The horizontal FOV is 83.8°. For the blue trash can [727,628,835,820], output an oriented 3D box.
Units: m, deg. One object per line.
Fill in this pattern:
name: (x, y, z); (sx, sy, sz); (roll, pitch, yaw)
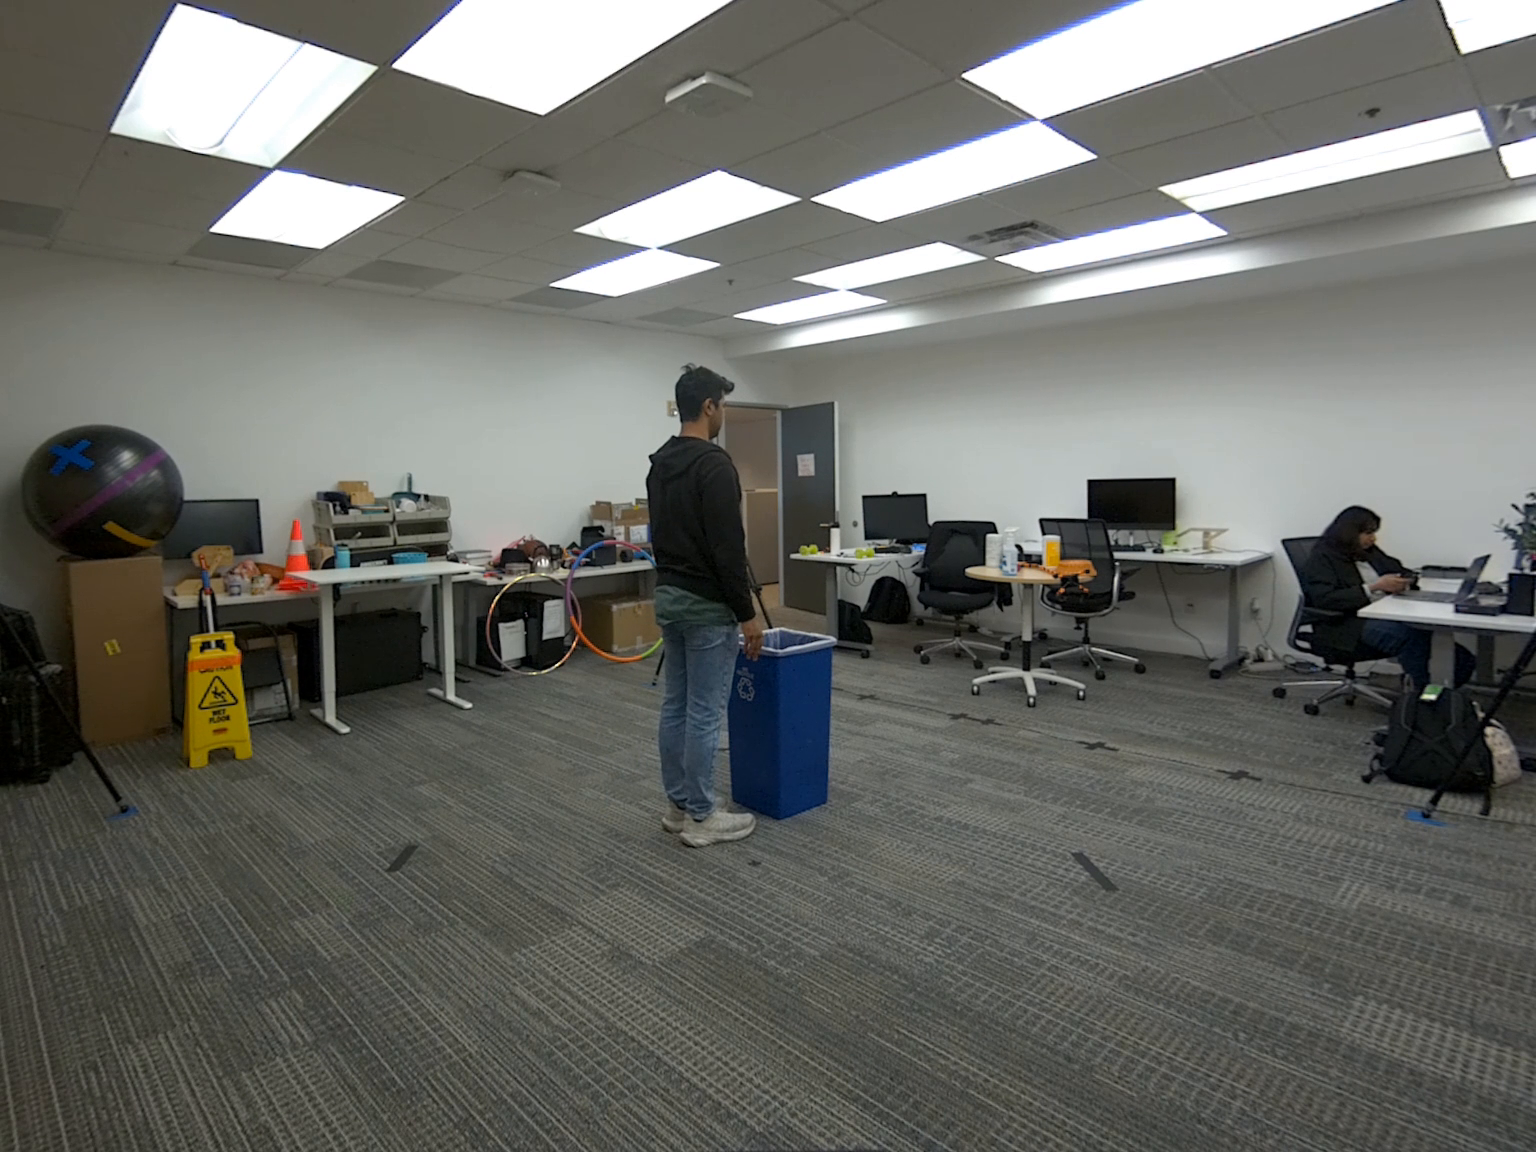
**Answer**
blue trash can: (0.059, 0.621, 3.674); (0.368, 0.711, 0.385); (-5, 6, -42)
